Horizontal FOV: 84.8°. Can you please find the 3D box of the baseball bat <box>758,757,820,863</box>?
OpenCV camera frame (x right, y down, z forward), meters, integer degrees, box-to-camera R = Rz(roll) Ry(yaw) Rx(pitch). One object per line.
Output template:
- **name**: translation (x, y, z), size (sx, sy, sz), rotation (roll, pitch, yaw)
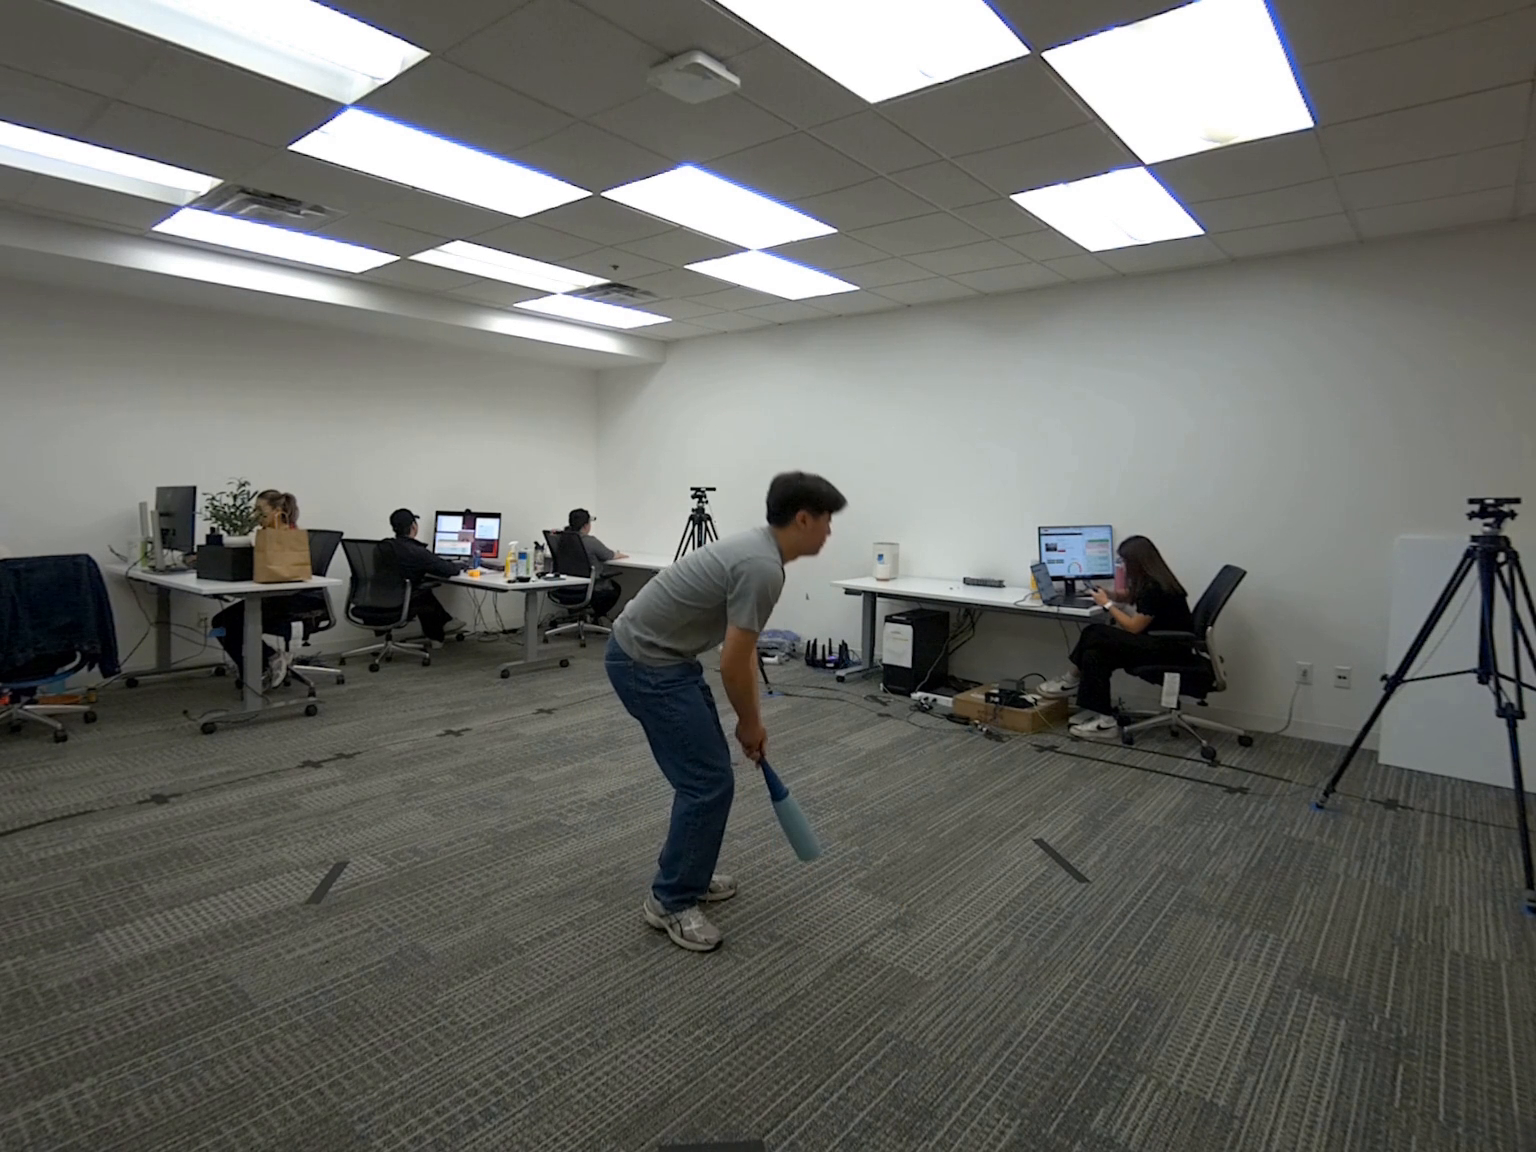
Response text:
- **baseball bat**: translation (0.041, 0.723, 2.814), size (0.089, 0.535, 0.090), rotation (-24, 11, 4)
